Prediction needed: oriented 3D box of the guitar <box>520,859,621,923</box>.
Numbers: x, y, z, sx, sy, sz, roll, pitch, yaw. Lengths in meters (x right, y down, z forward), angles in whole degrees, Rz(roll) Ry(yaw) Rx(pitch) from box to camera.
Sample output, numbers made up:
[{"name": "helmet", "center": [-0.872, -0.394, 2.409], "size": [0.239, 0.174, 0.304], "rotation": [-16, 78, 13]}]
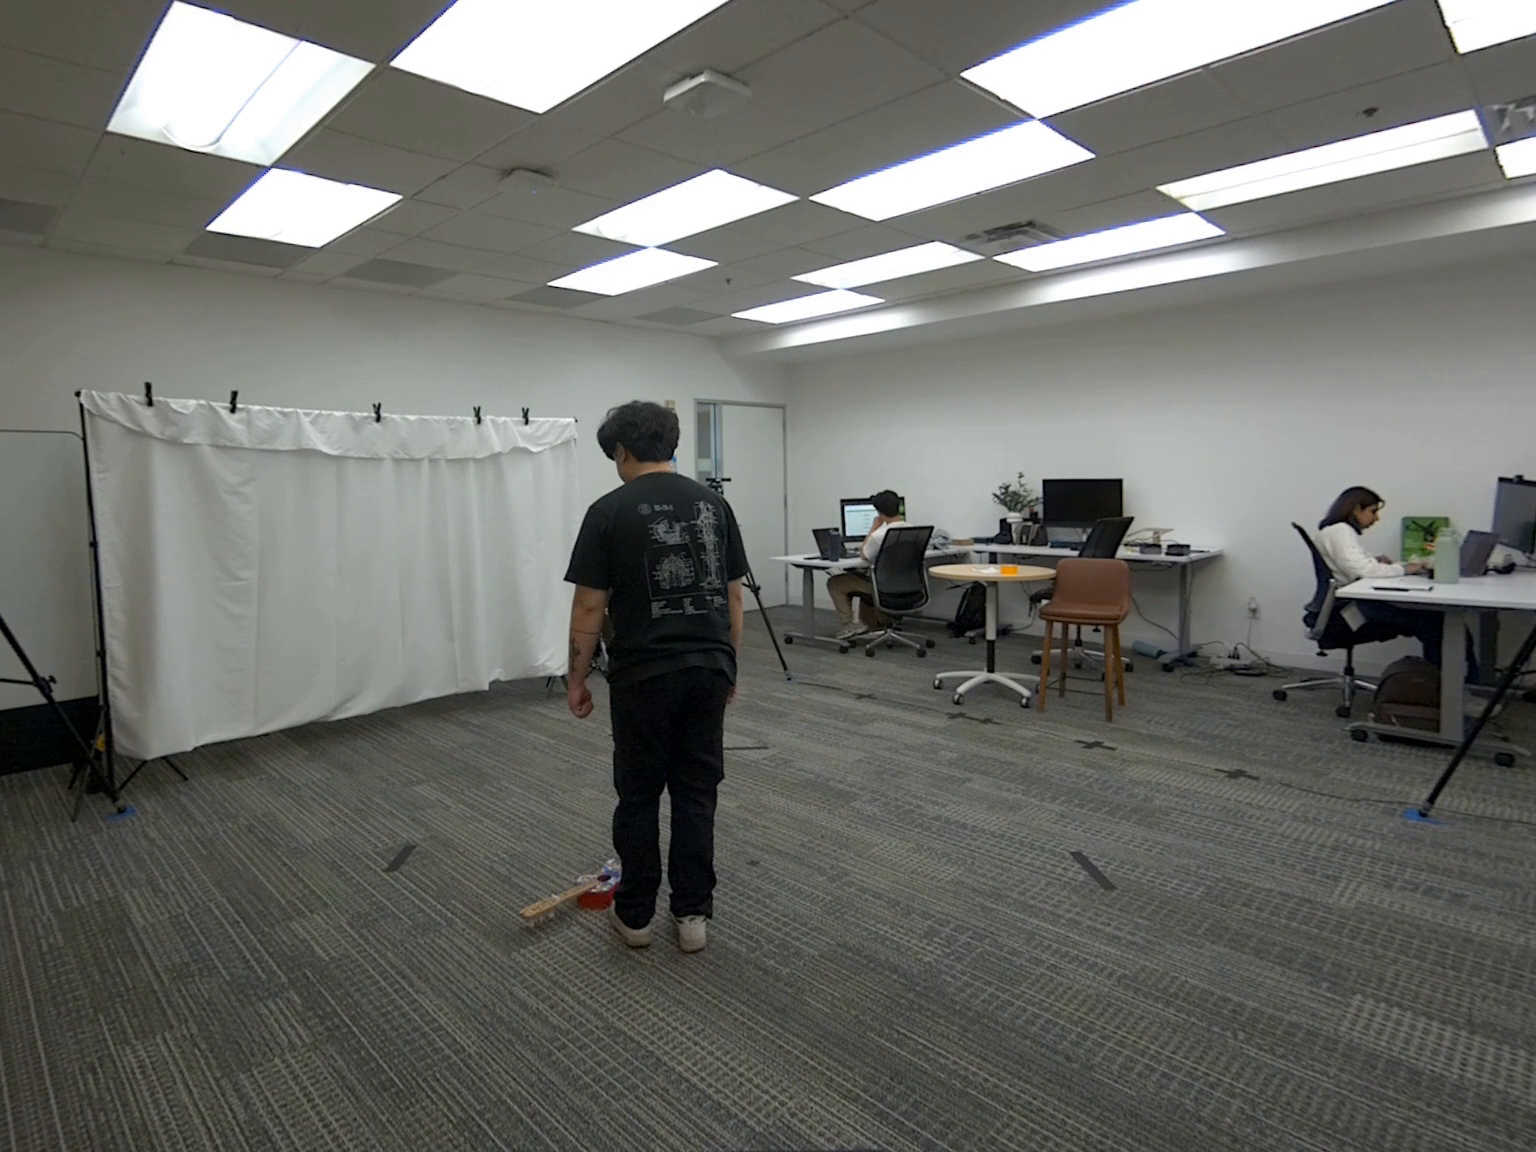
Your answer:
[{"name": "guitar", "center": [-0.617, 1.049, 2.848], "size": [0.485, 0.070, 0.199], "rotation": [-6, 8, -39]}]
